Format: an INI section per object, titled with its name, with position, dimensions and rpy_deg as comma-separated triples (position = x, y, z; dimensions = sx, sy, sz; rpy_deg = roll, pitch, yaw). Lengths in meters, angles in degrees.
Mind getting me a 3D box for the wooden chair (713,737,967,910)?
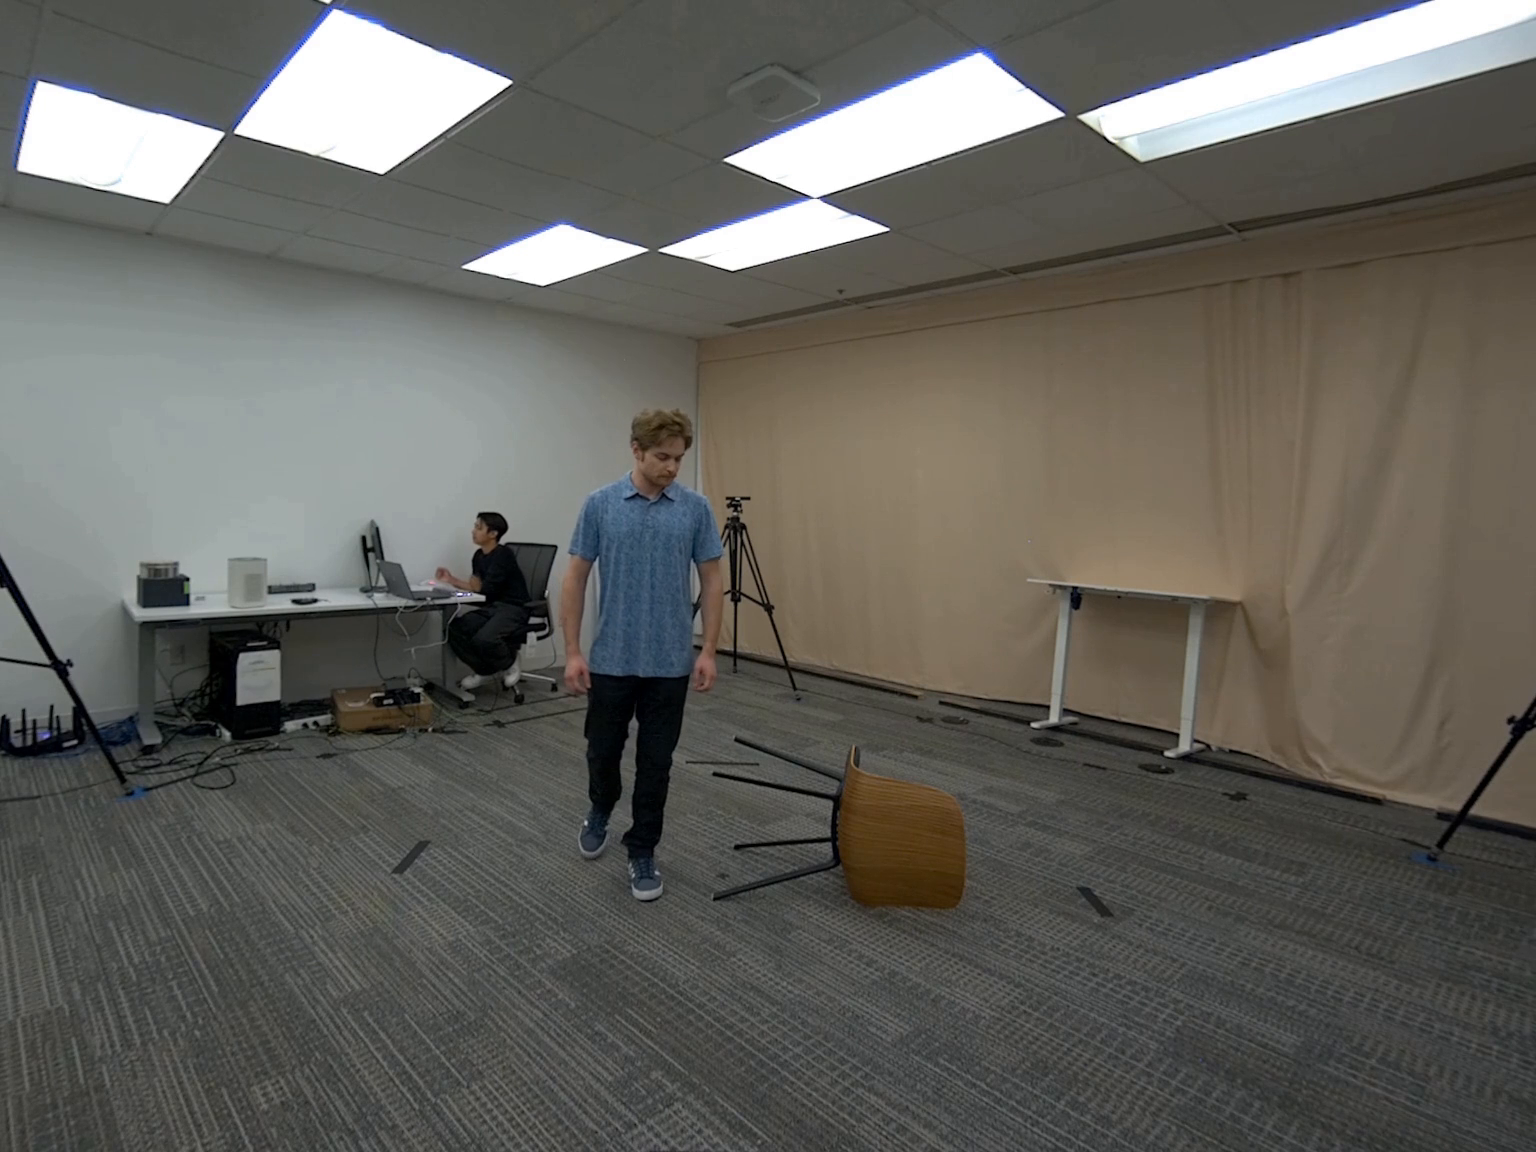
[wooden chair]
position = 0.257, 0.888, 3.059
dimensions = 0.887, 0.477, 0.518
rpy_deg = 1, 3, 14
